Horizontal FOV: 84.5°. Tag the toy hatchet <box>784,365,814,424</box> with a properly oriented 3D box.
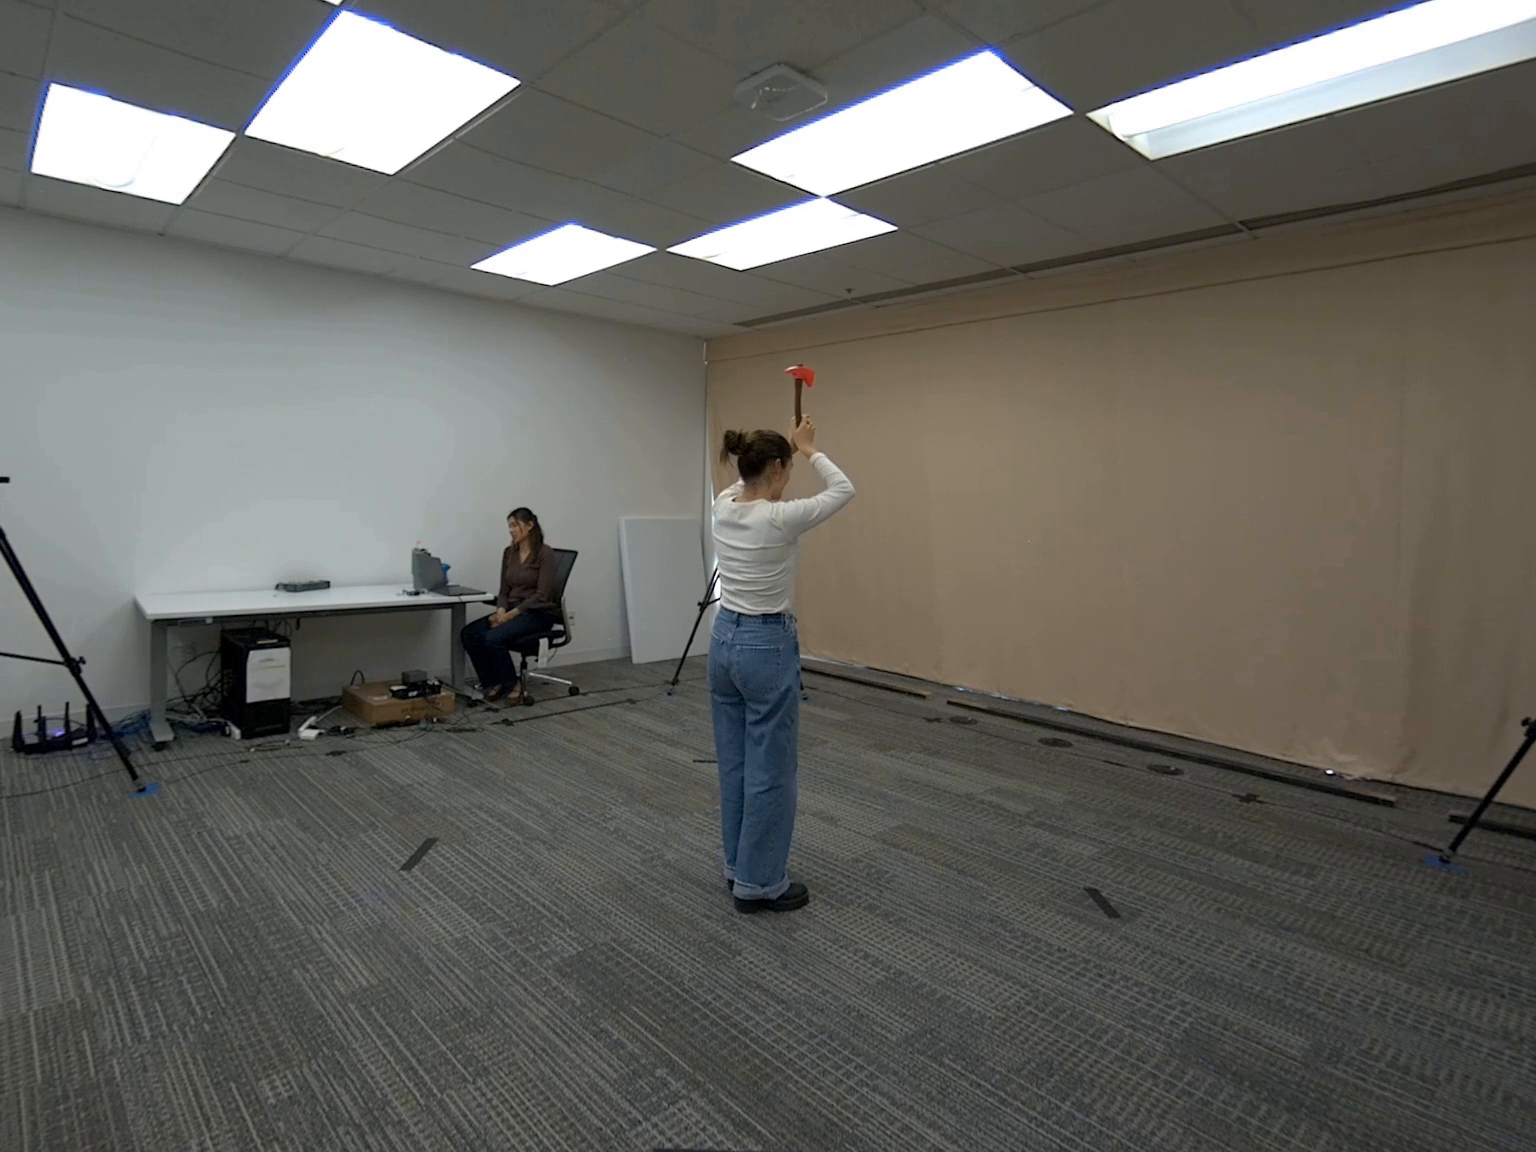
[{"bbox_3d":[0.131,-0.625,2.997,0.130,0.265,0.030,-26,25,-32],"label":"toy hatchet"}]
